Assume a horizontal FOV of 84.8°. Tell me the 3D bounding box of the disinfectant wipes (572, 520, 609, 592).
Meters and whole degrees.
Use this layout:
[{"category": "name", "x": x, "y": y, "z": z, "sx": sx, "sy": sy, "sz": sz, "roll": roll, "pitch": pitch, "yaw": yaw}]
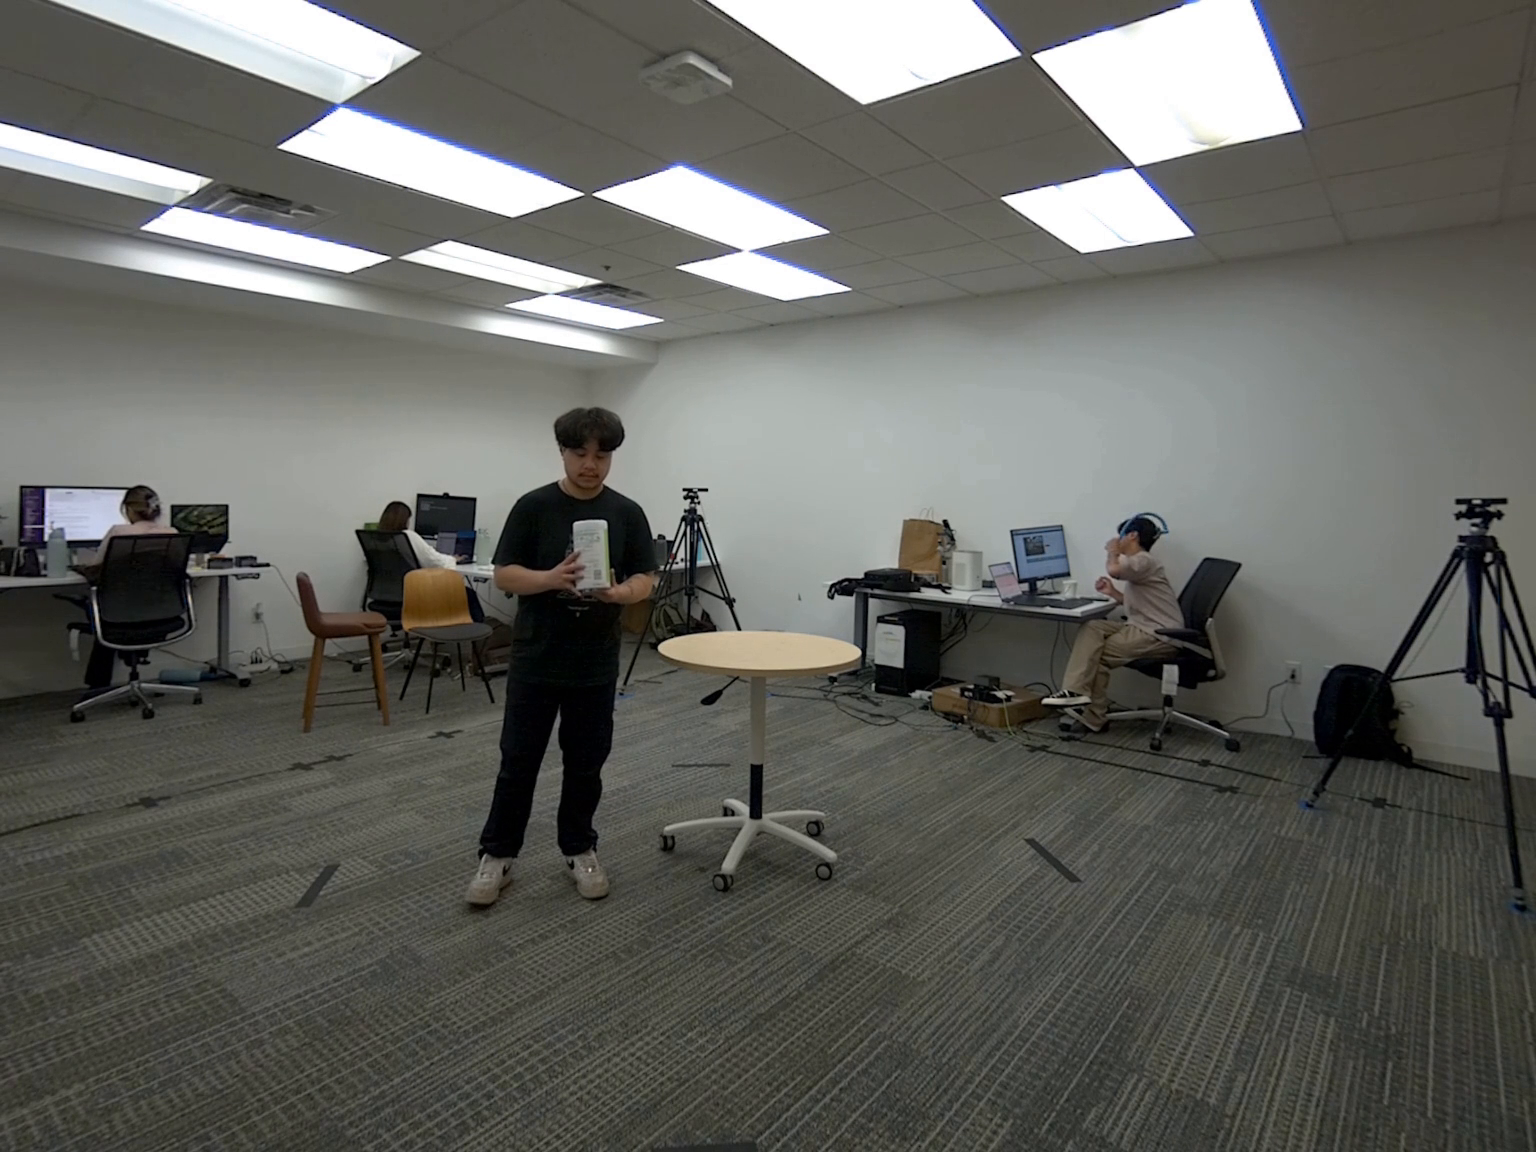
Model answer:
[{"category": "disinfectant wipes", "x": -0.577, "y": -0.064, "z": 2.685, "sx": 0.117, "sy": 0.219, "sz": 0.117, "roll": -1, "pitch": -6, "yaw": -2}]
